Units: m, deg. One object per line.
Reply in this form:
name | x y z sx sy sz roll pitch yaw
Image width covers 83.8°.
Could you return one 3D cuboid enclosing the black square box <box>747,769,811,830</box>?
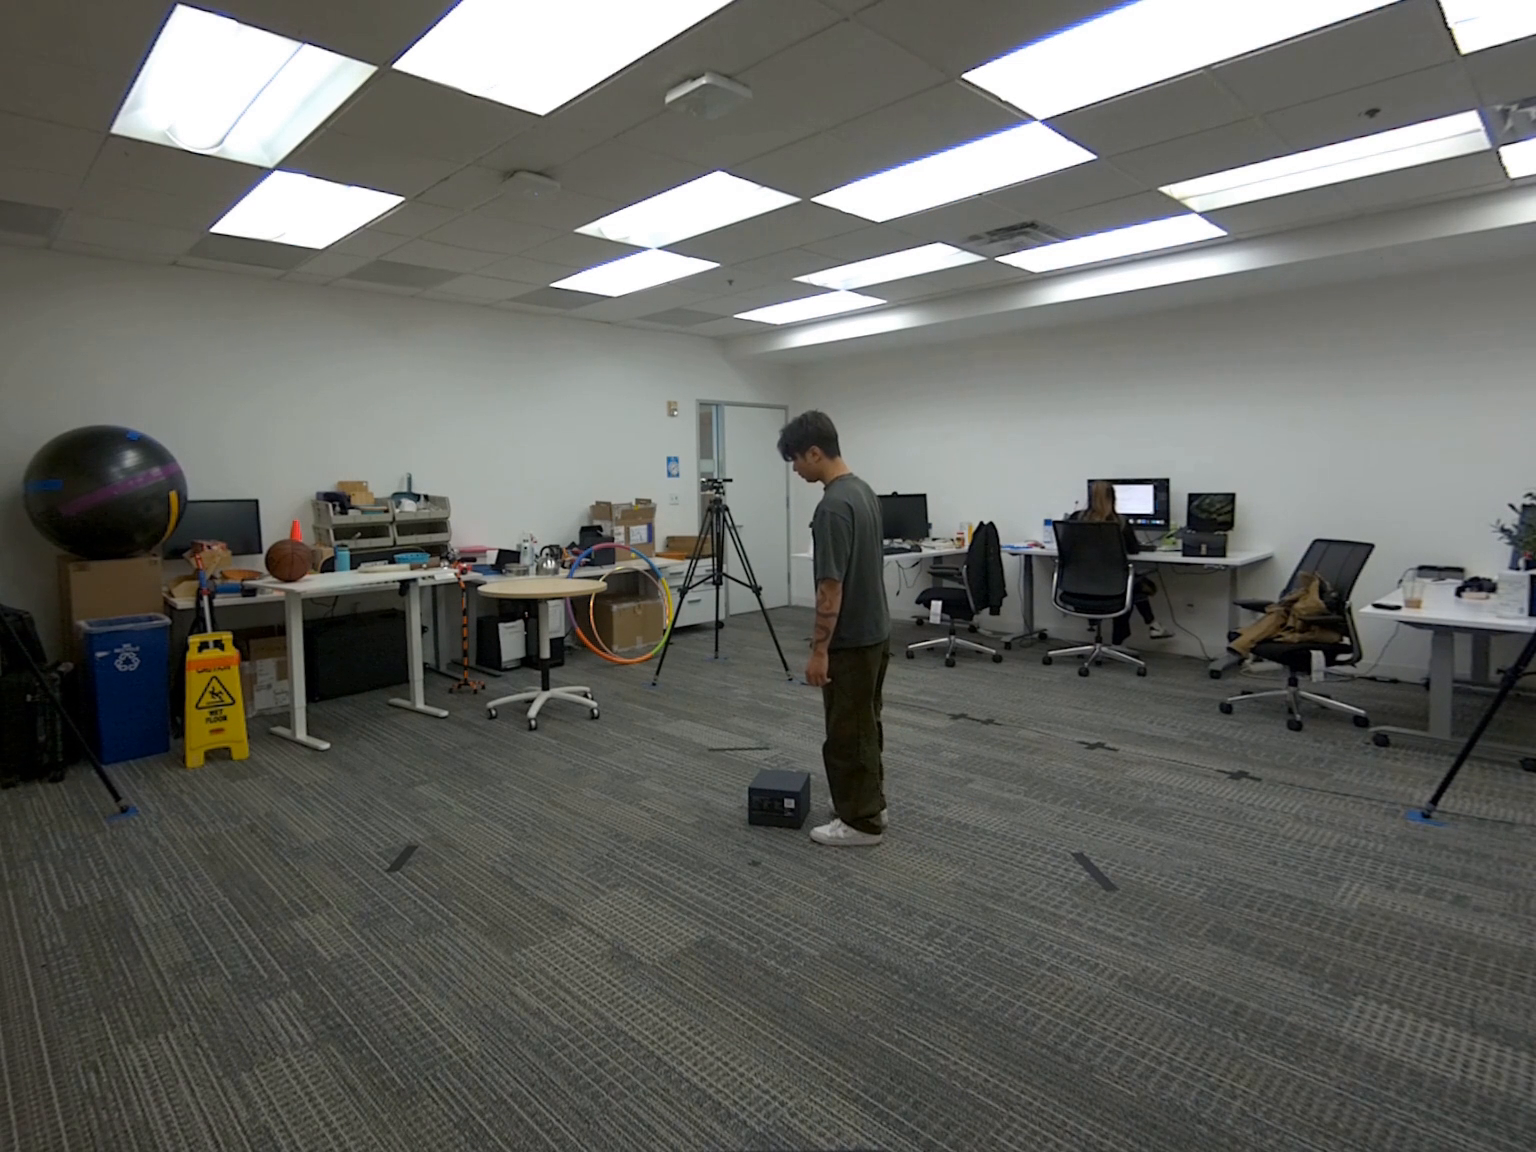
black square box | 0.048 0.911 3.528 0.220 0.155 0.225 0 6 15
